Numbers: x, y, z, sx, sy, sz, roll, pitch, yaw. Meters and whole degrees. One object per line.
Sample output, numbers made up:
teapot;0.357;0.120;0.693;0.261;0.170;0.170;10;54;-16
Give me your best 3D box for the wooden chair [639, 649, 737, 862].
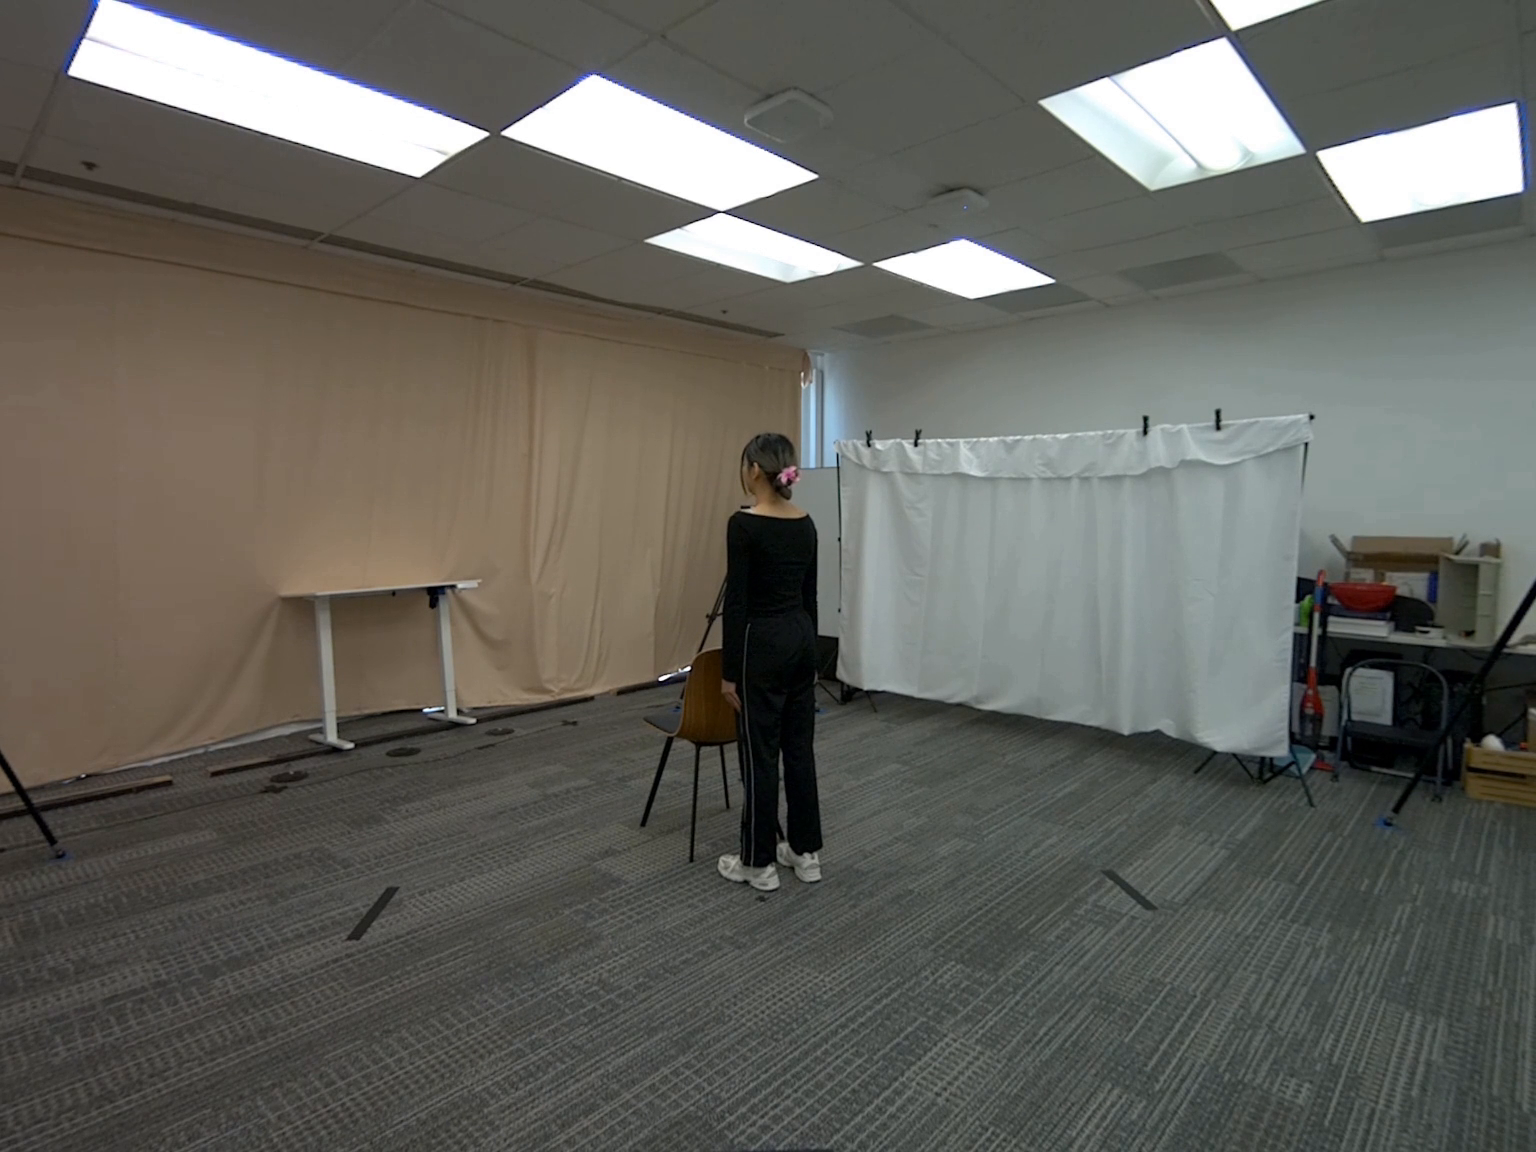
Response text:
wooden chair;-0.255;0.671;3.573;0.465;0.874;0.540;-2;8;-32
